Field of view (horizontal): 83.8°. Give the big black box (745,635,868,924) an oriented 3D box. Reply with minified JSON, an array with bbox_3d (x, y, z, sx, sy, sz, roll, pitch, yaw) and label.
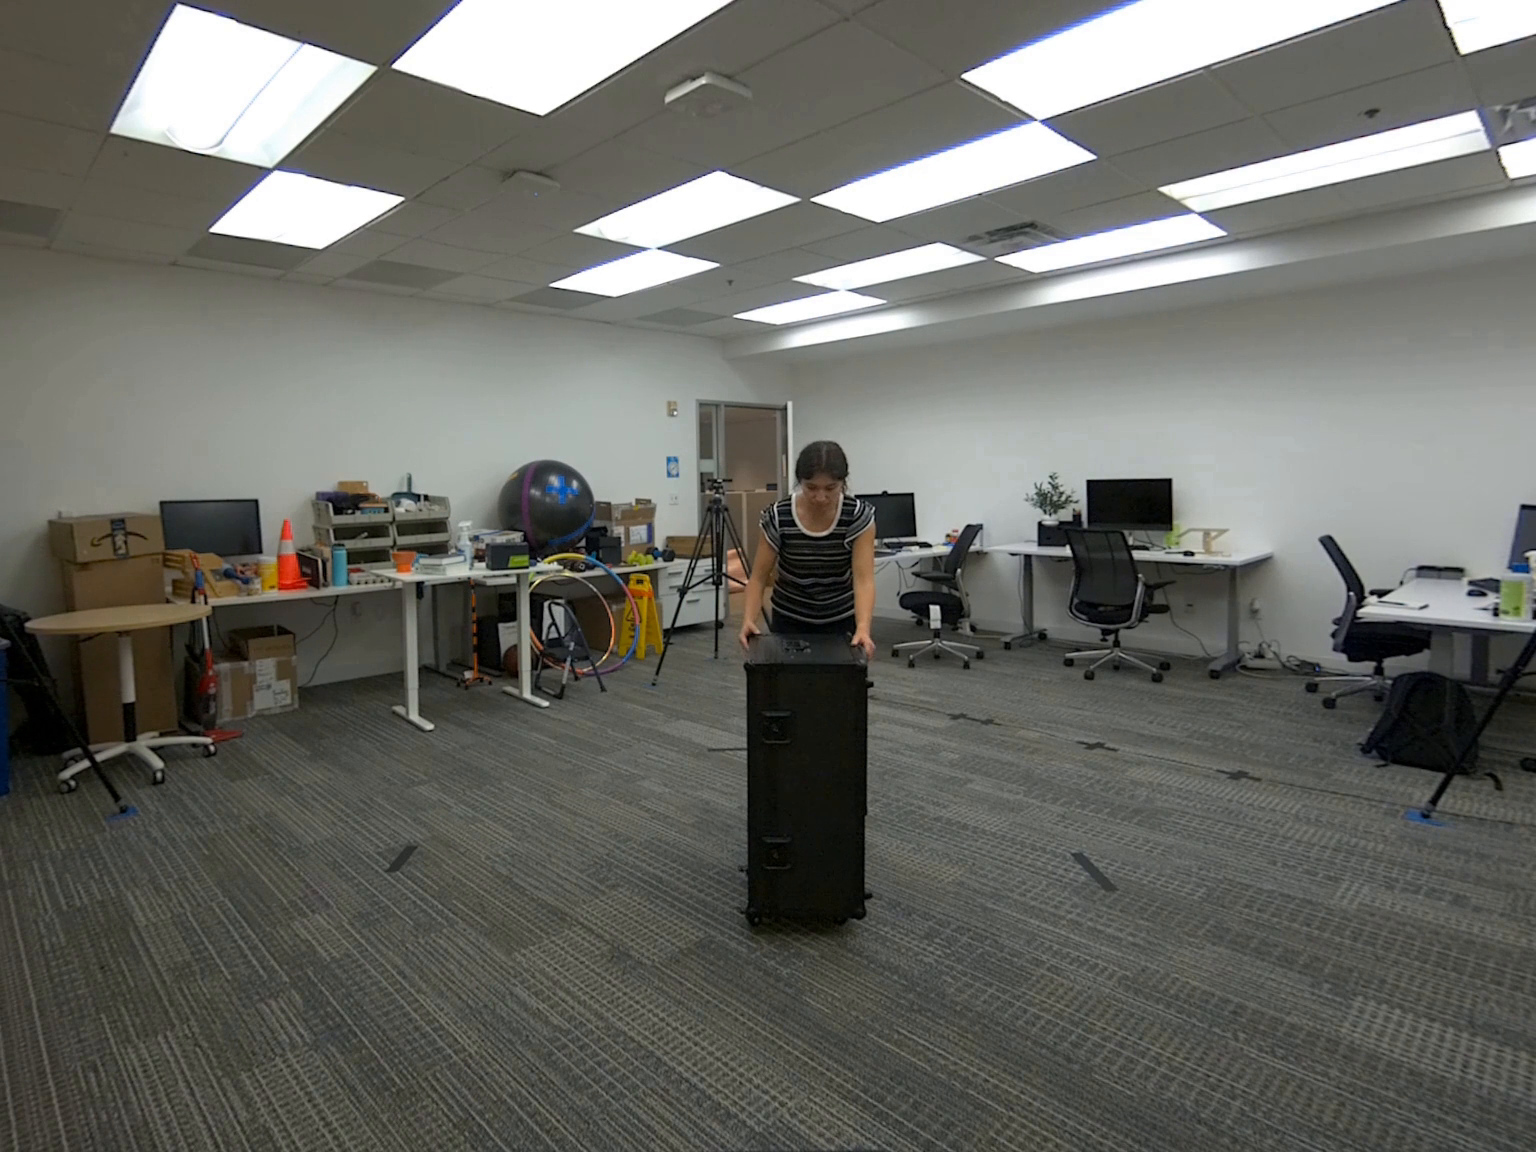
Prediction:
[{"bbox_3d":[0.129,0.660,2.793,0.397,0.858,0.522,0,5,2],"label":"big black box"}]
